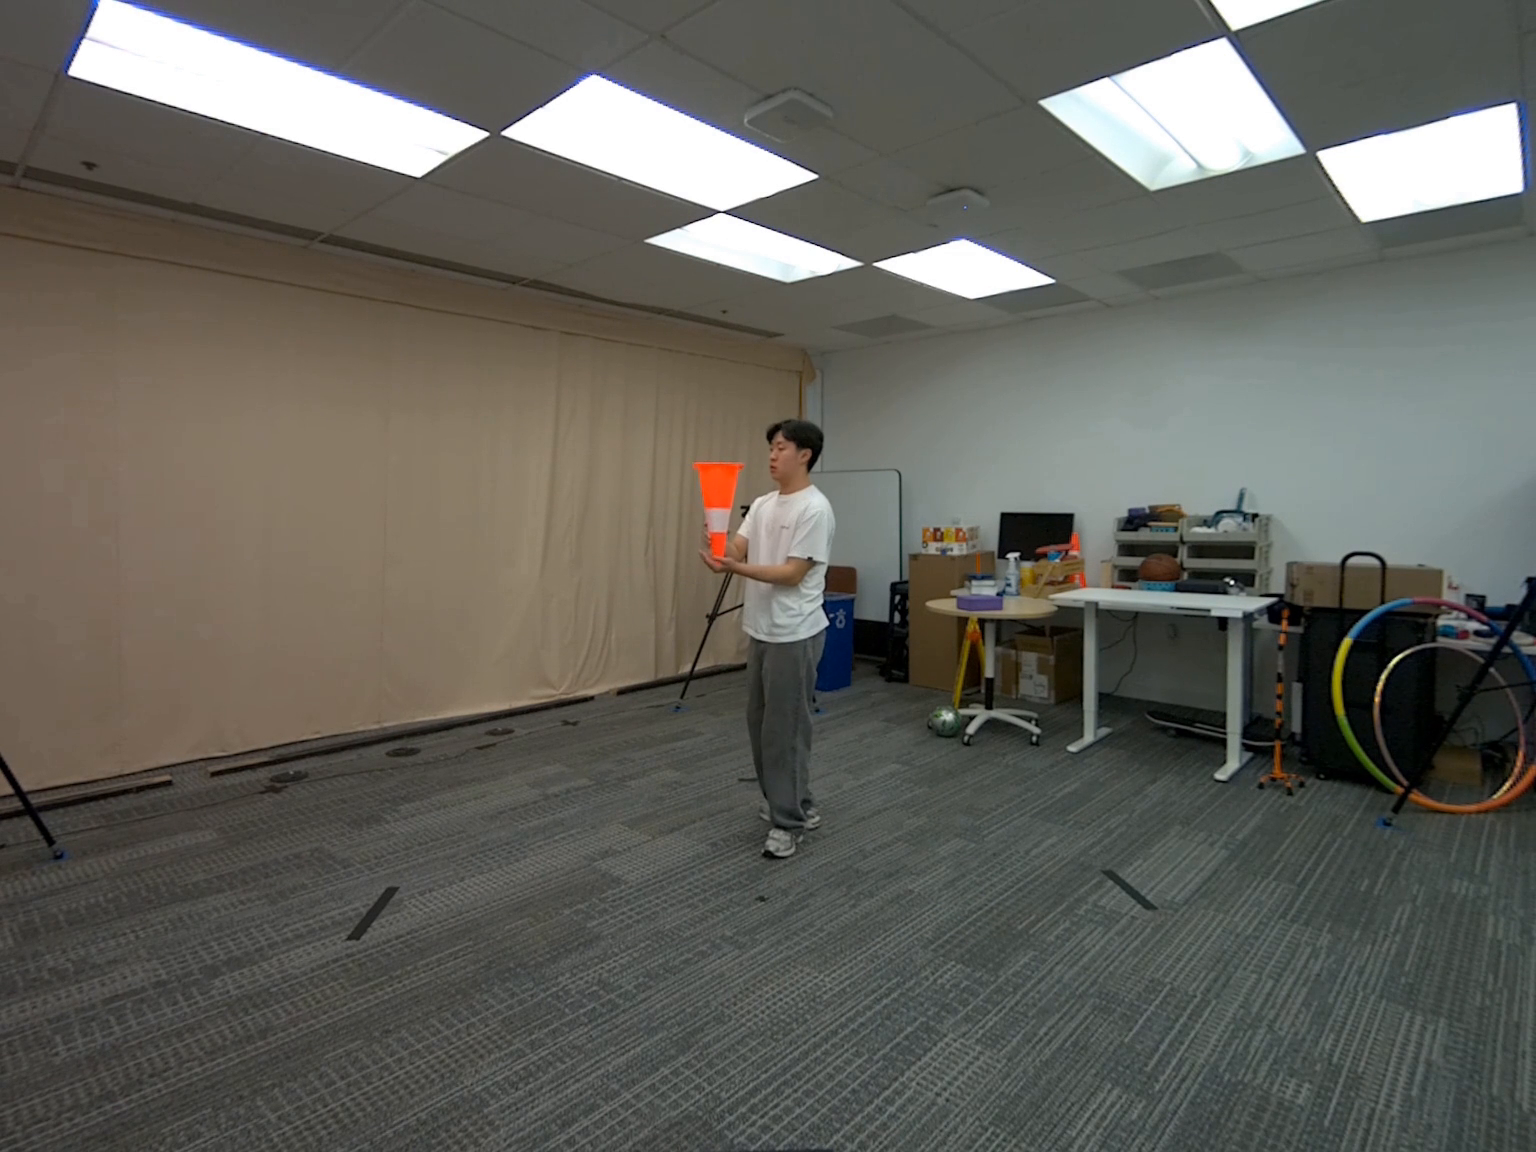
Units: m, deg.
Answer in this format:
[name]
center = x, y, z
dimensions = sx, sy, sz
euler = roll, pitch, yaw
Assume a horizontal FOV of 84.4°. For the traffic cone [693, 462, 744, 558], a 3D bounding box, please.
[traffic cone]
center = -0.189, -0.230, 3.251
dimensions = 0.206, 0.384, 0.202
euler = 0, 0, 12
